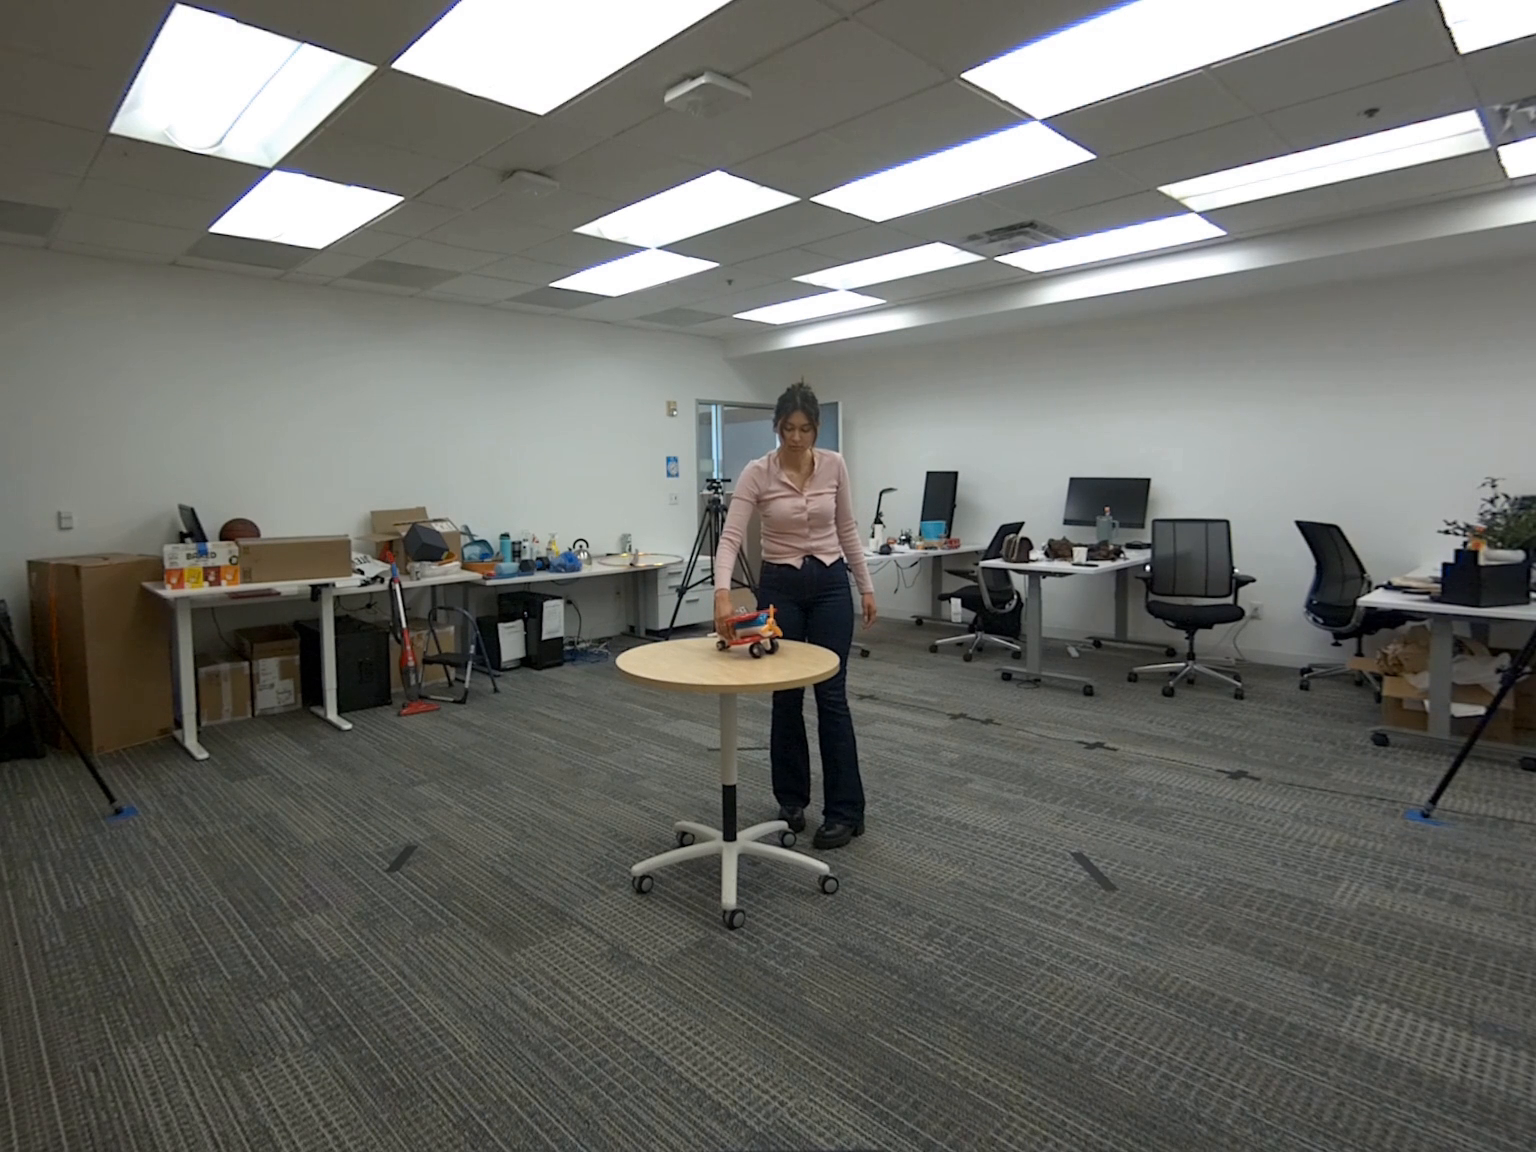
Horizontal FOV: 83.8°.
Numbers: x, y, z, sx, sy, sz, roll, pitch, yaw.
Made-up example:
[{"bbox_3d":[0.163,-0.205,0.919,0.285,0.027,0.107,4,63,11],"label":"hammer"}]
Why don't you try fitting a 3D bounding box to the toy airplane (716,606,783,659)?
[{"bbox_3d":[-0.093,0.197,2.990,0.262,0.155,0.250,2,7,10],"label":"toy airplane"}]
